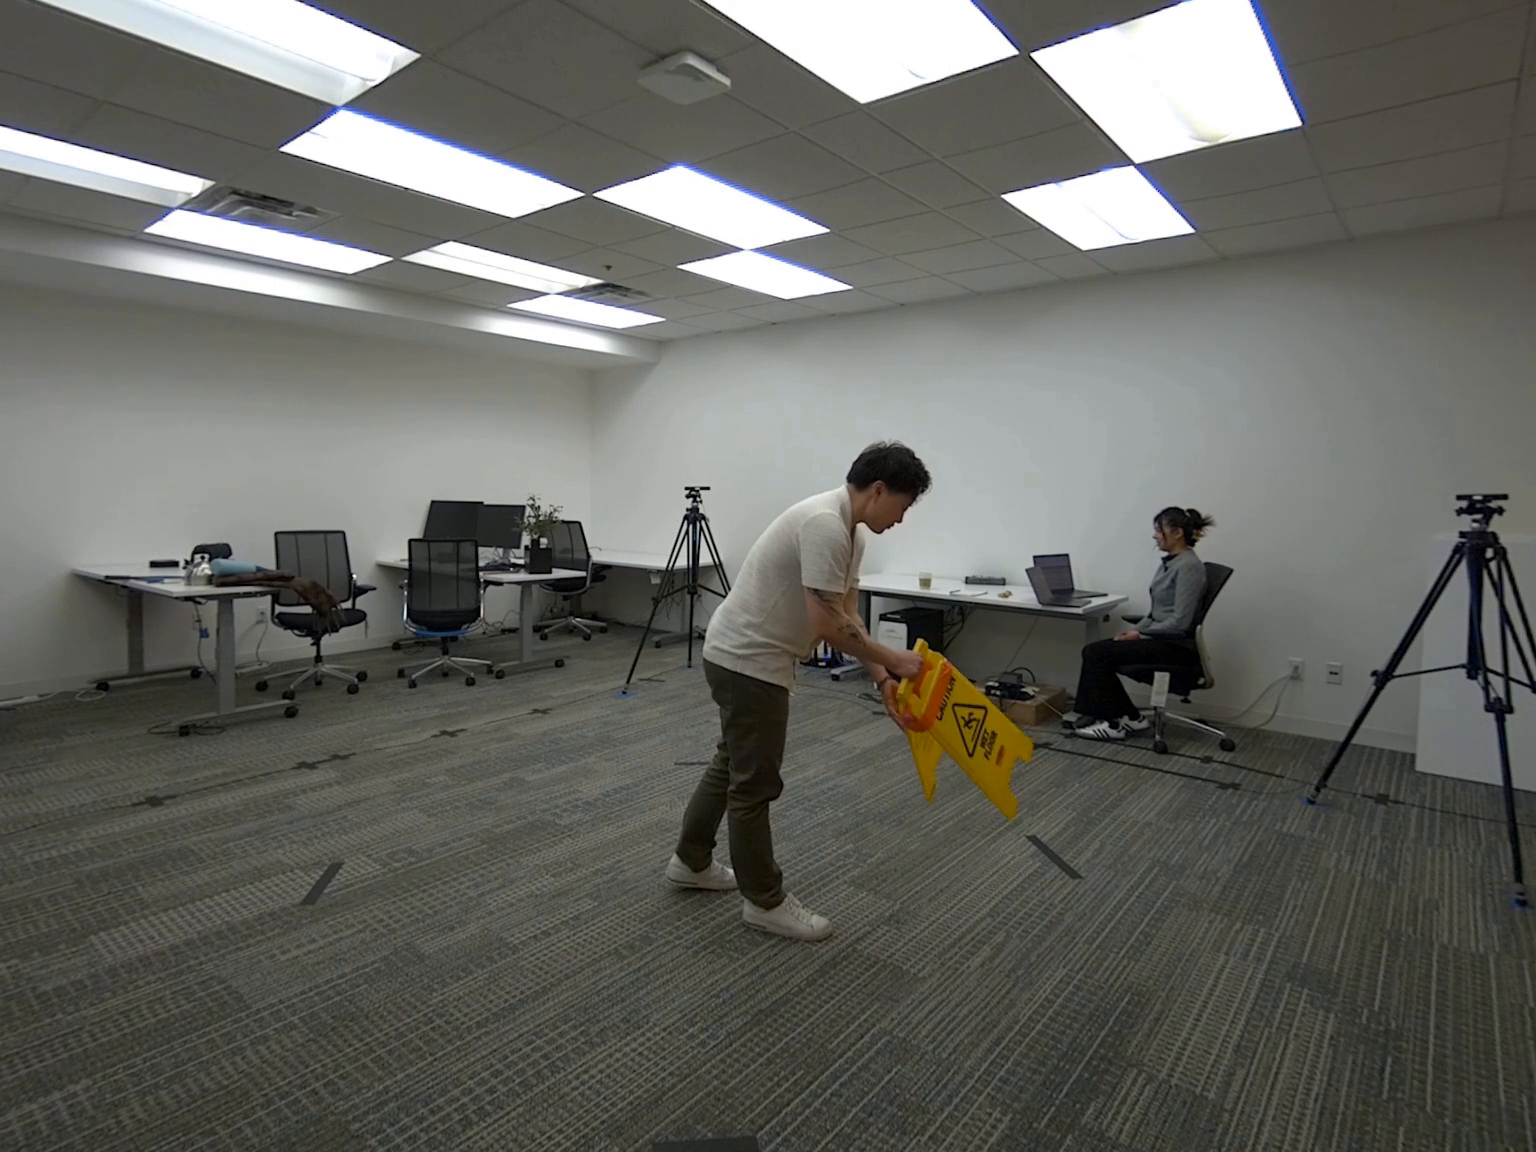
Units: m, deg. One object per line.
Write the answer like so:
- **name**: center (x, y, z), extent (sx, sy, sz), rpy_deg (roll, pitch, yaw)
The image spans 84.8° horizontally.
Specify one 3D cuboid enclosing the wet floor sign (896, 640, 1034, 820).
- **wet floor sign**: center (0.553, 0.463, 2.661), extent (0.299, 0.284, 0.621), rpy_deg (1, -40, 40)
